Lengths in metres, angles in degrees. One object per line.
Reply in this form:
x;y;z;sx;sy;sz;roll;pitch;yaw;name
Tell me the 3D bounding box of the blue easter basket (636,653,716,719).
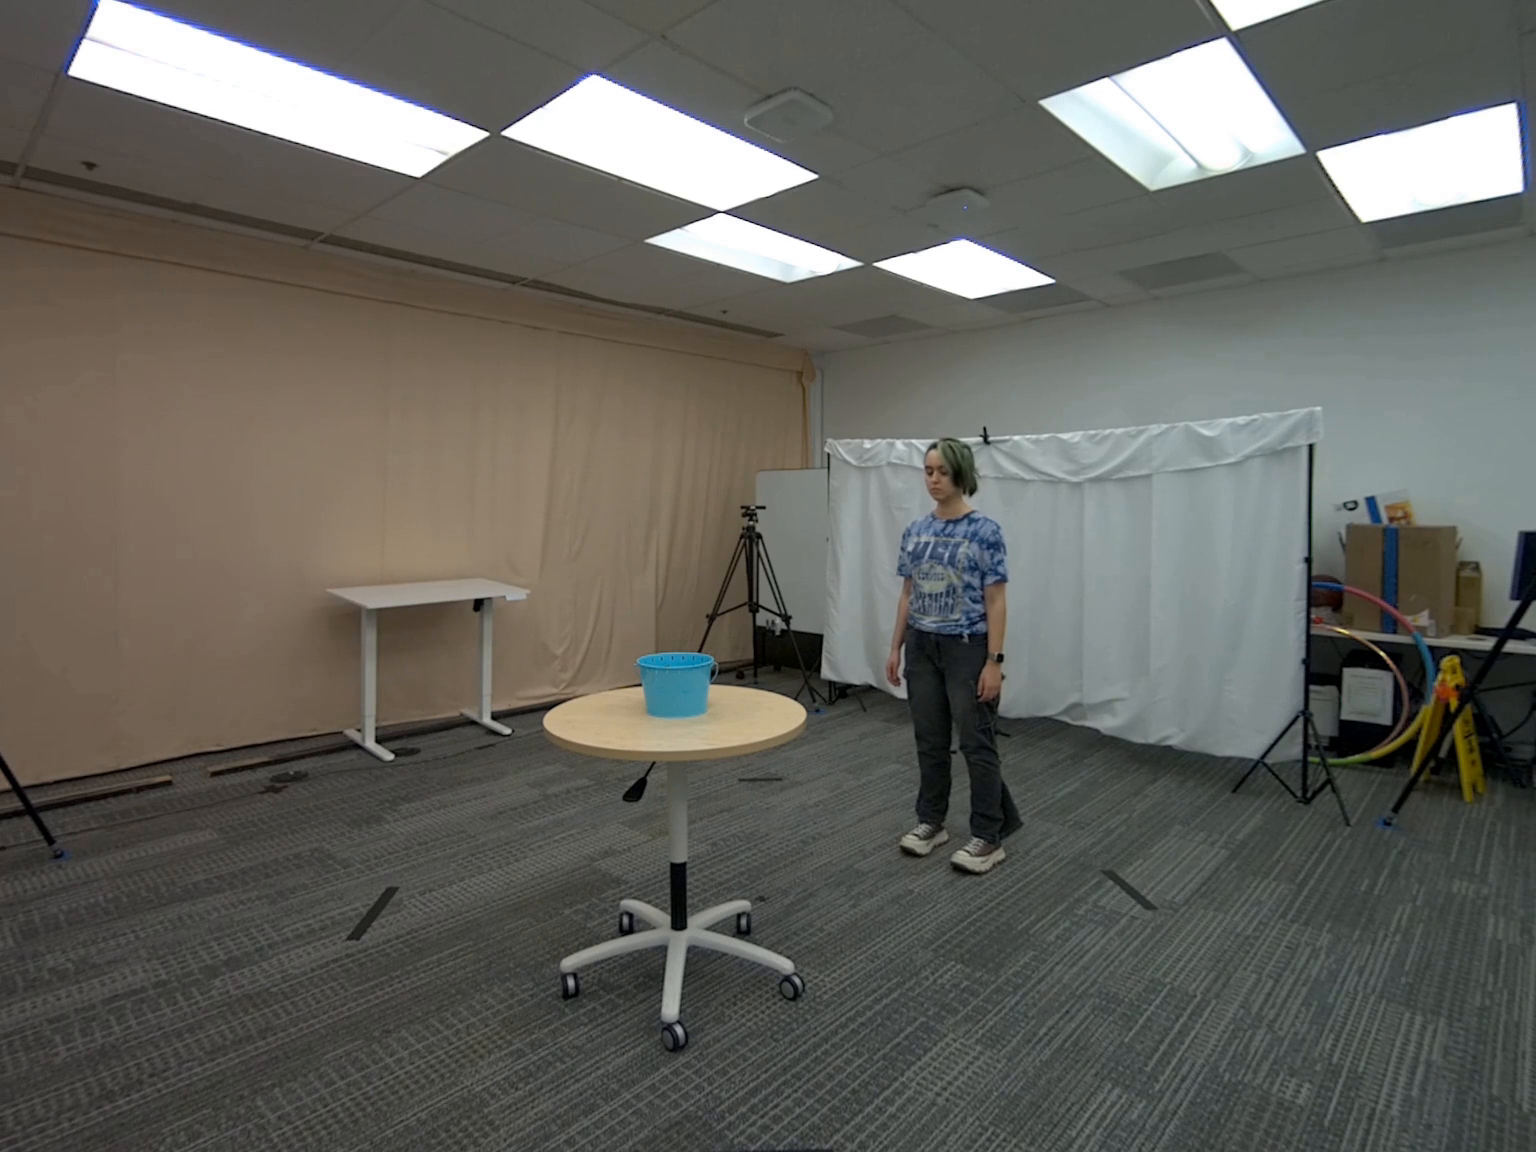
-0.268;0.328;2.493;0.243;0.155;0.244;-1;5;-2;blue easter basket
